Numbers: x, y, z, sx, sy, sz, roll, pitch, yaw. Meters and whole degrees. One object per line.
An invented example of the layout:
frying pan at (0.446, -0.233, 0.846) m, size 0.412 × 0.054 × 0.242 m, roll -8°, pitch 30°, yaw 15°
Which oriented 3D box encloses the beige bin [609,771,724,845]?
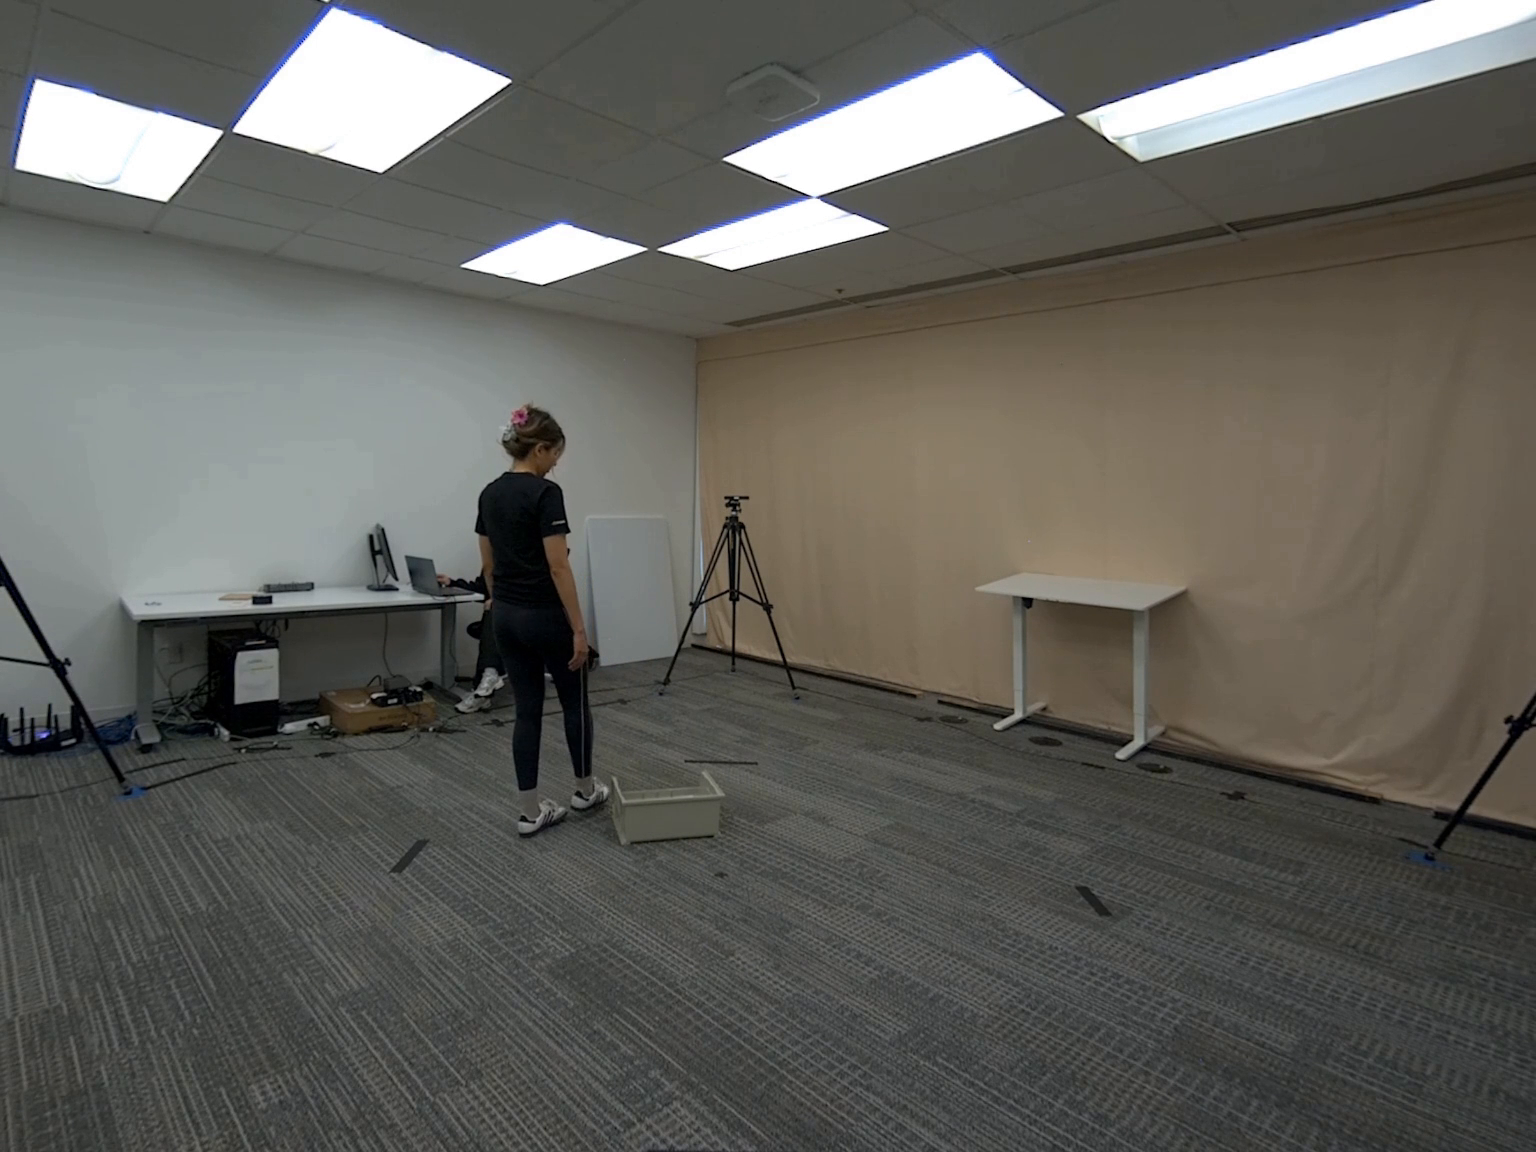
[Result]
beige bin at (-0.445, 0.966, 3.564) m, size 0.417 × 0.188 × 0.383 m, roll 0°, pitch 6°, yaw -17°
